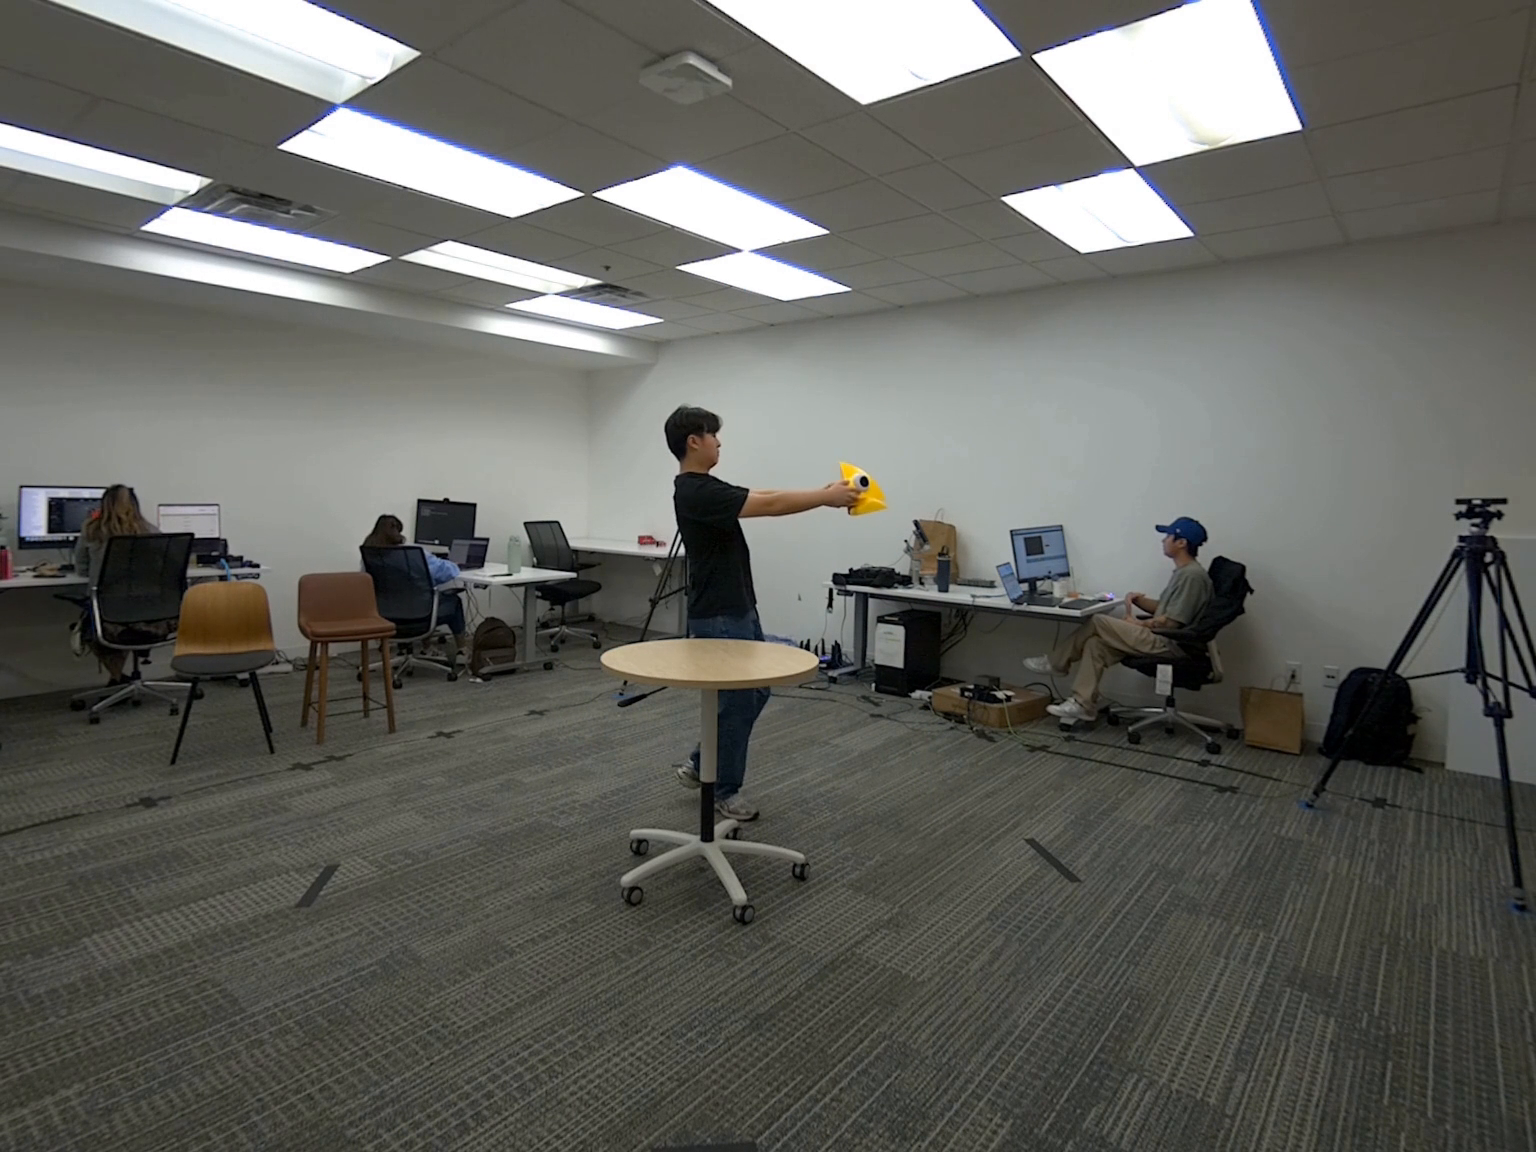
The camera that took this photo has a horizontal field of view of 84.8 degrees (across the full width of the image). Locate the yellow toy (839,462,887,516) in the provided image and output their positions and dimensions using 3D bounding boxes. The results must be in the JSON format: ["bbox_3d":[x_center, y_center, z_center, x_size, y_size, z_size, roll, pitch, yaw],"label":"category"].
[{"bbox_3d":[0.373,-0.390,3.633,0.193,0.229,0.206,-14,8,-1],"label":"yellow toy"}]
